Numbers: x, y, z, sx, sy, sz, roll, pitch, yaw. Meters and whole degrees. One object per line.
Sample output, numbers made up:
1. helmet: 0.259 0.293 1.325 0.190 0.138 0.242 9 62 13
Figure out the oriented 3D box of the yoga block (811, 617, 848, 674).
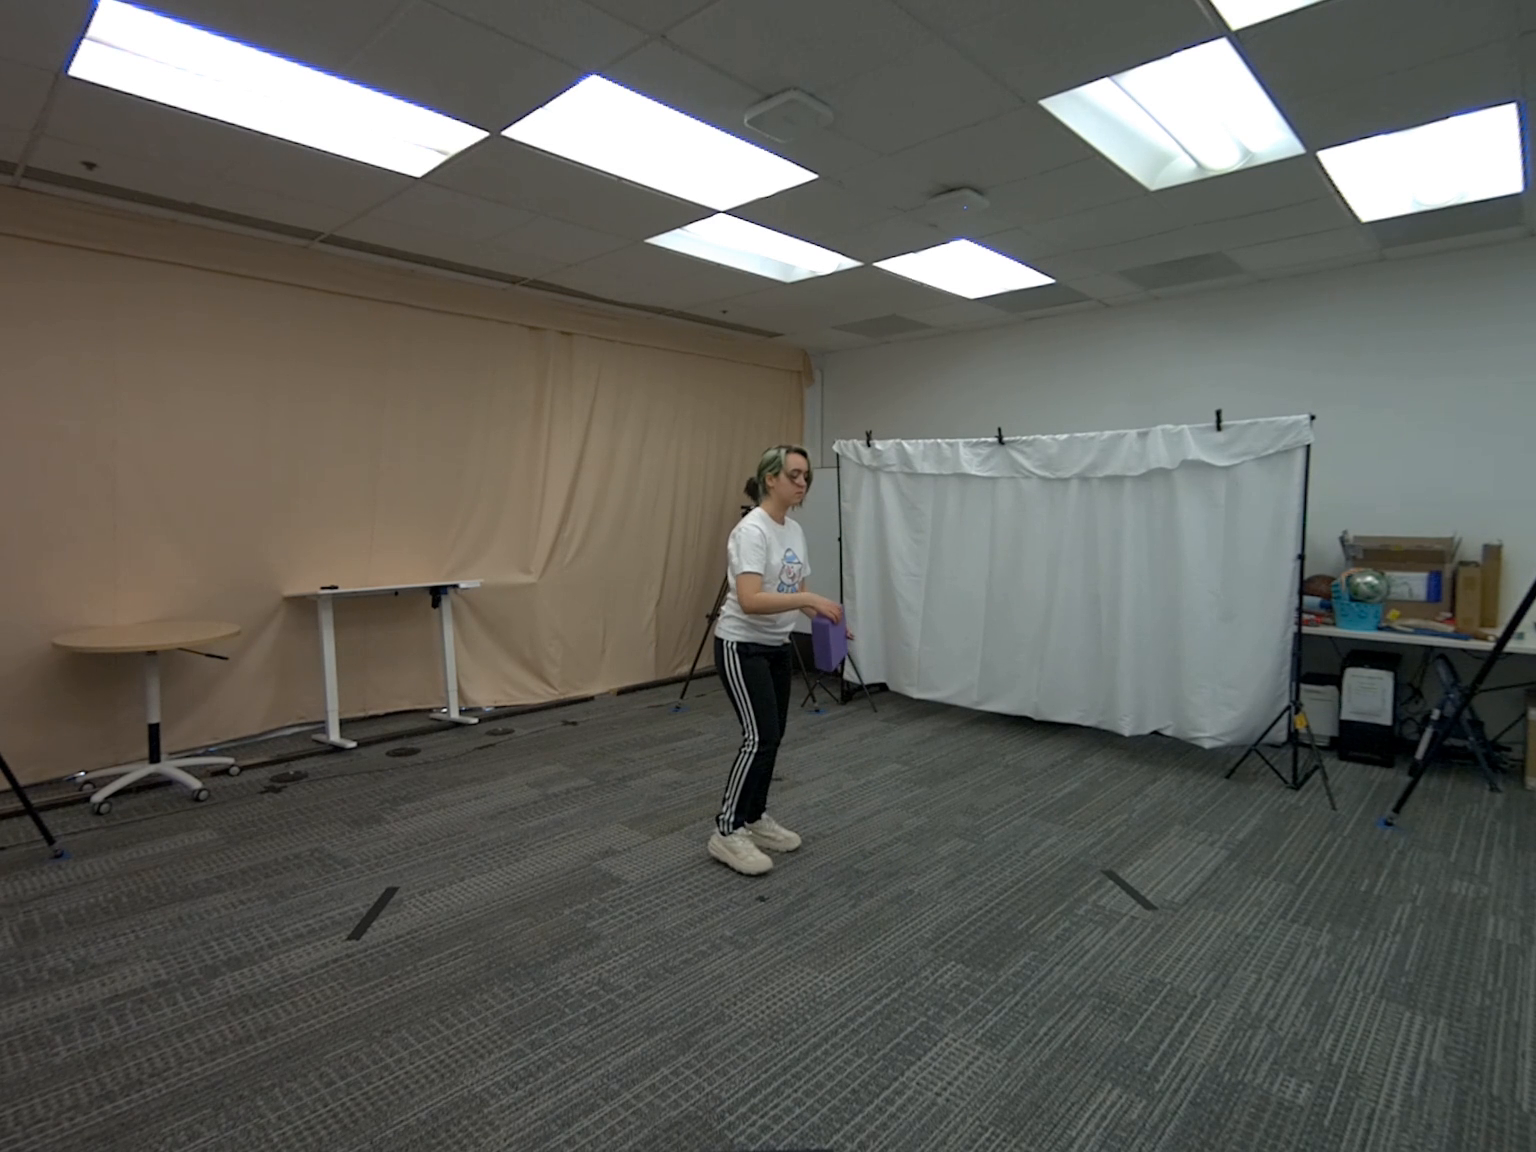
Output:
1. yoga block: 0.234 0.243 3.223 0.079 0.225 0.147 8 31 31
